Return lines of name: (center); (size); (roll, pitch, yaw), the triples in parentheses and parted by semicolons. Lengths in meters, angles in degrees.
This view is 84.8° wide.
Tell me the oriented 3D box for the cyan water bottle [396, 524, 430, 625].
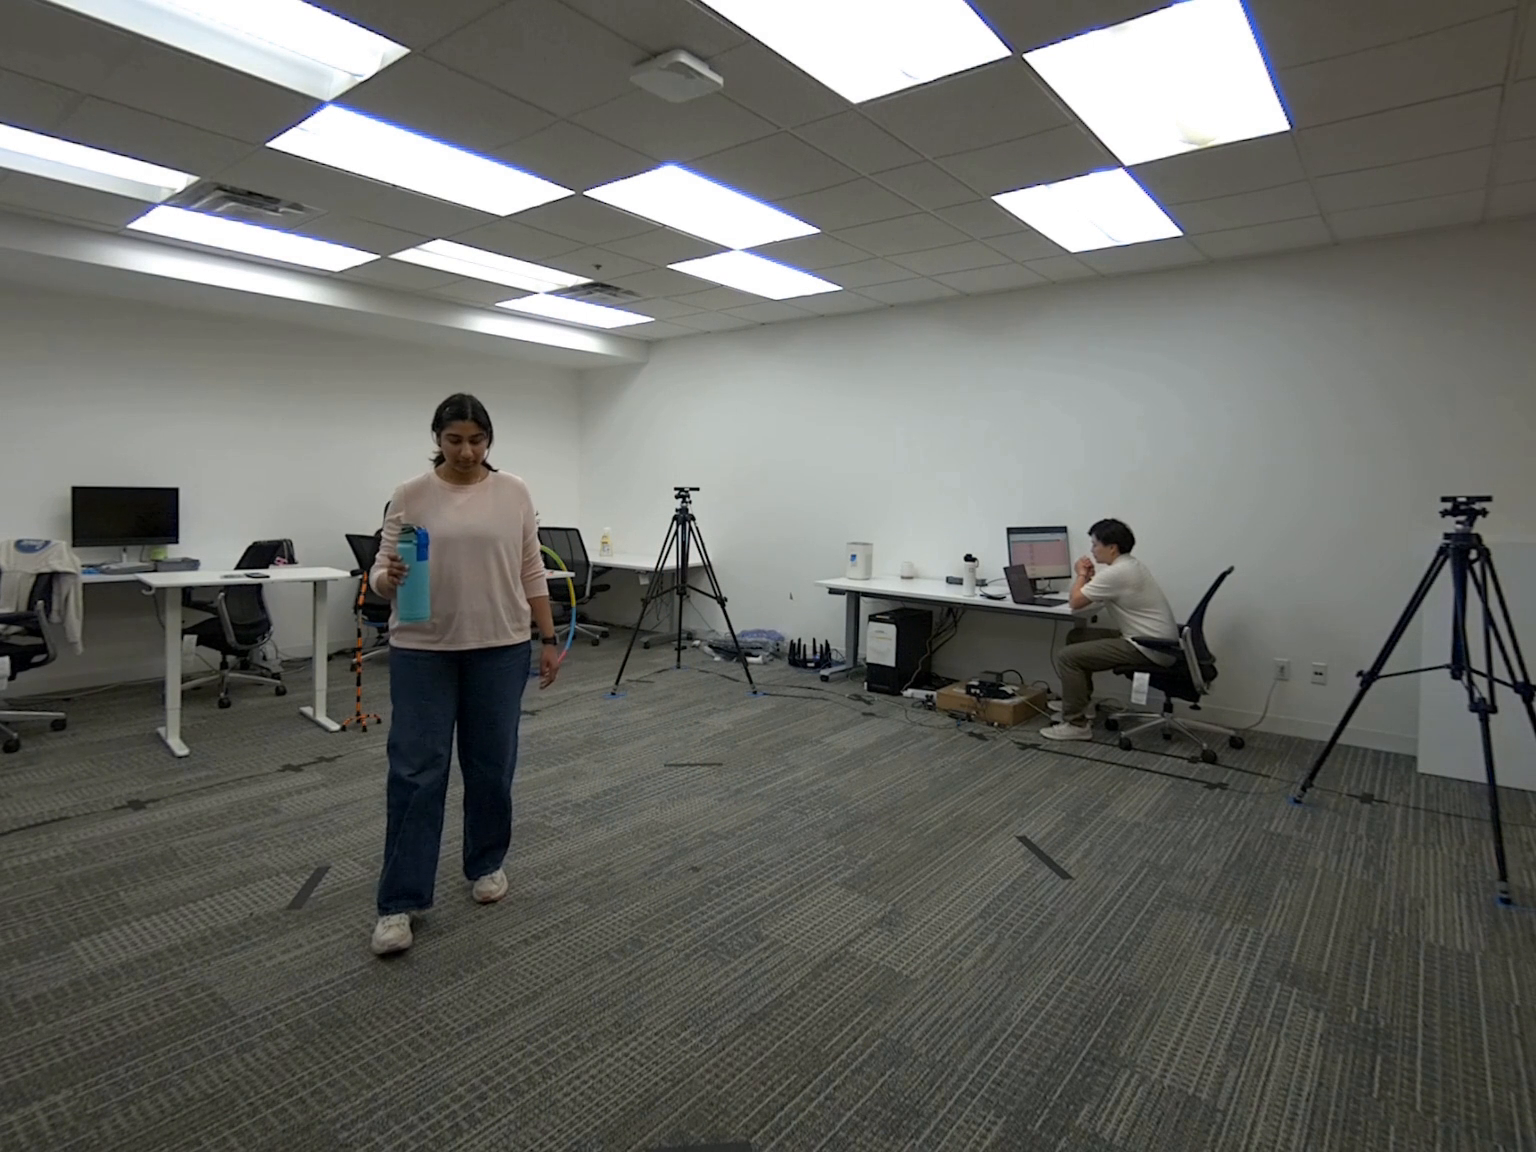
cyan water bottle: (-1.049, -0.016, 2.459); (0.092, 0.282, 0.093); (3, 5, -2)
